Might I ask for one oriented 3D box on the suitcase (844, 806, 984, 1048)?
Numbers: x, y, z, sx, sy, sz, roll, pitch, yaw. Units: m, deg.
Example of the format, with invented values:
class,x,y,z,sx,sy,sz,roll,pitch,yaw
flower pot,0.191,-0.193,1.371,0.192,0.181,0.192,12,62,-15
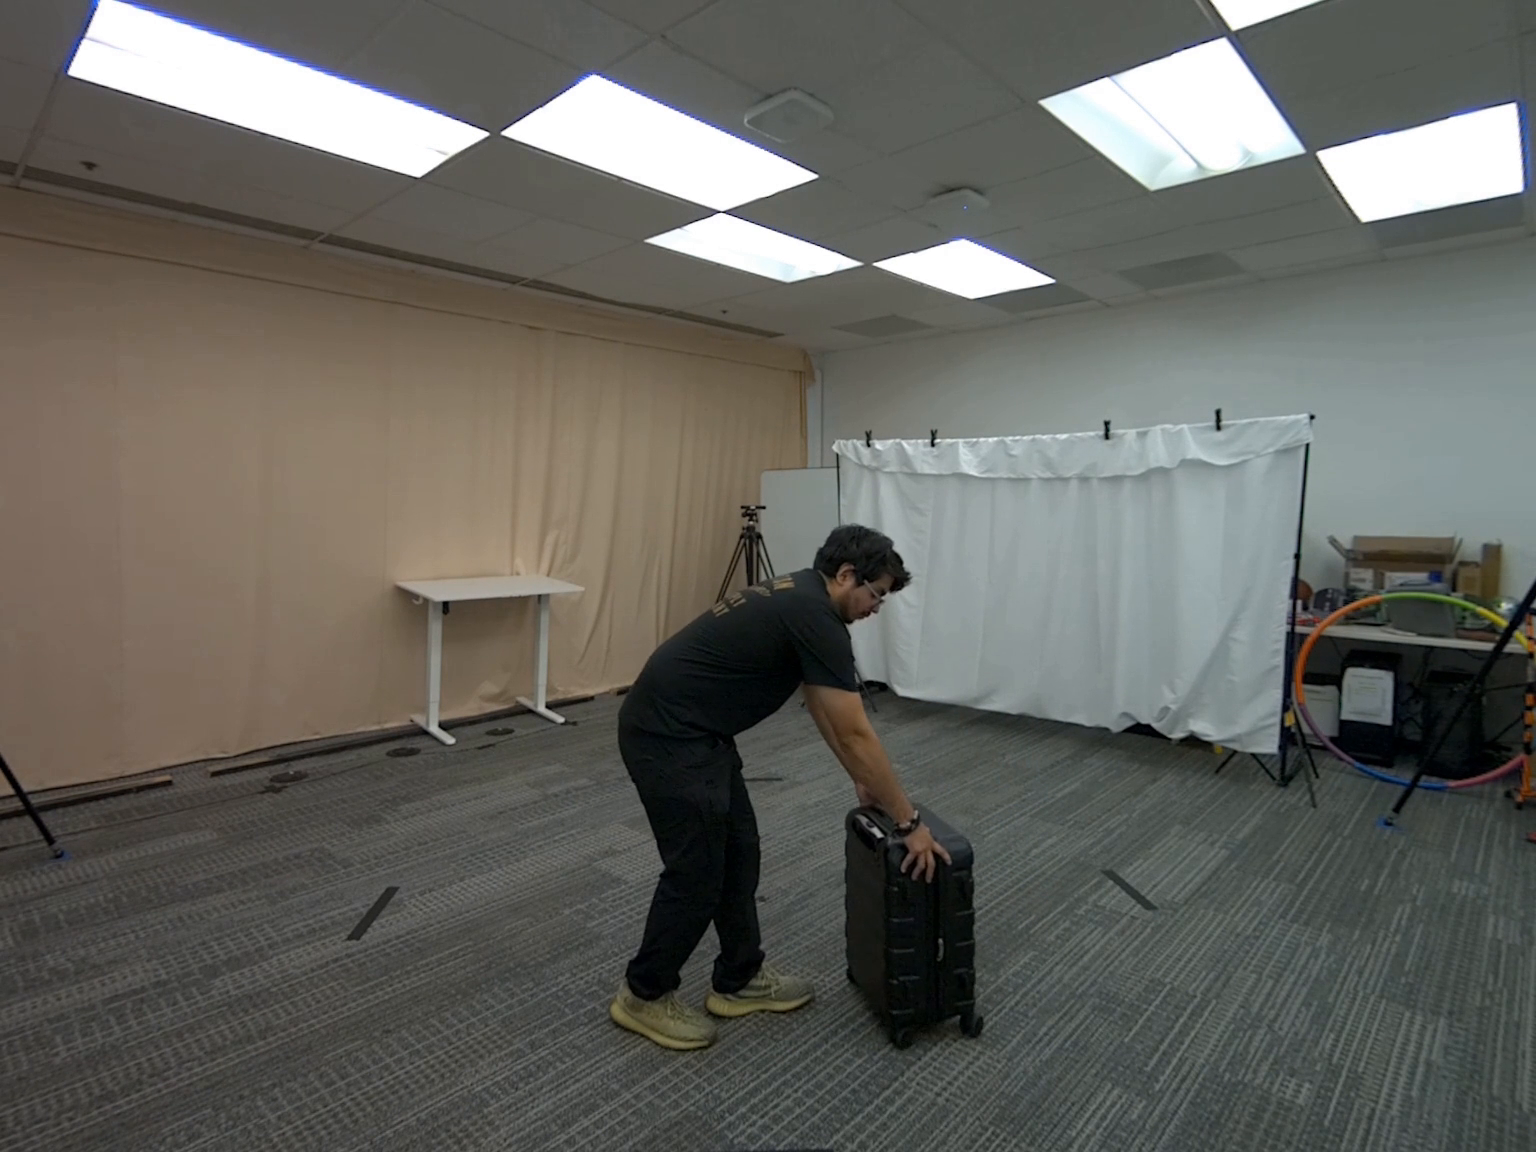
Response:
class,x,y,z,sx,sy,sz,roll,pitch,yaw
suitcase,0.386,0.928,2.309,0.245,0.548,0.382,-2,5,-14
